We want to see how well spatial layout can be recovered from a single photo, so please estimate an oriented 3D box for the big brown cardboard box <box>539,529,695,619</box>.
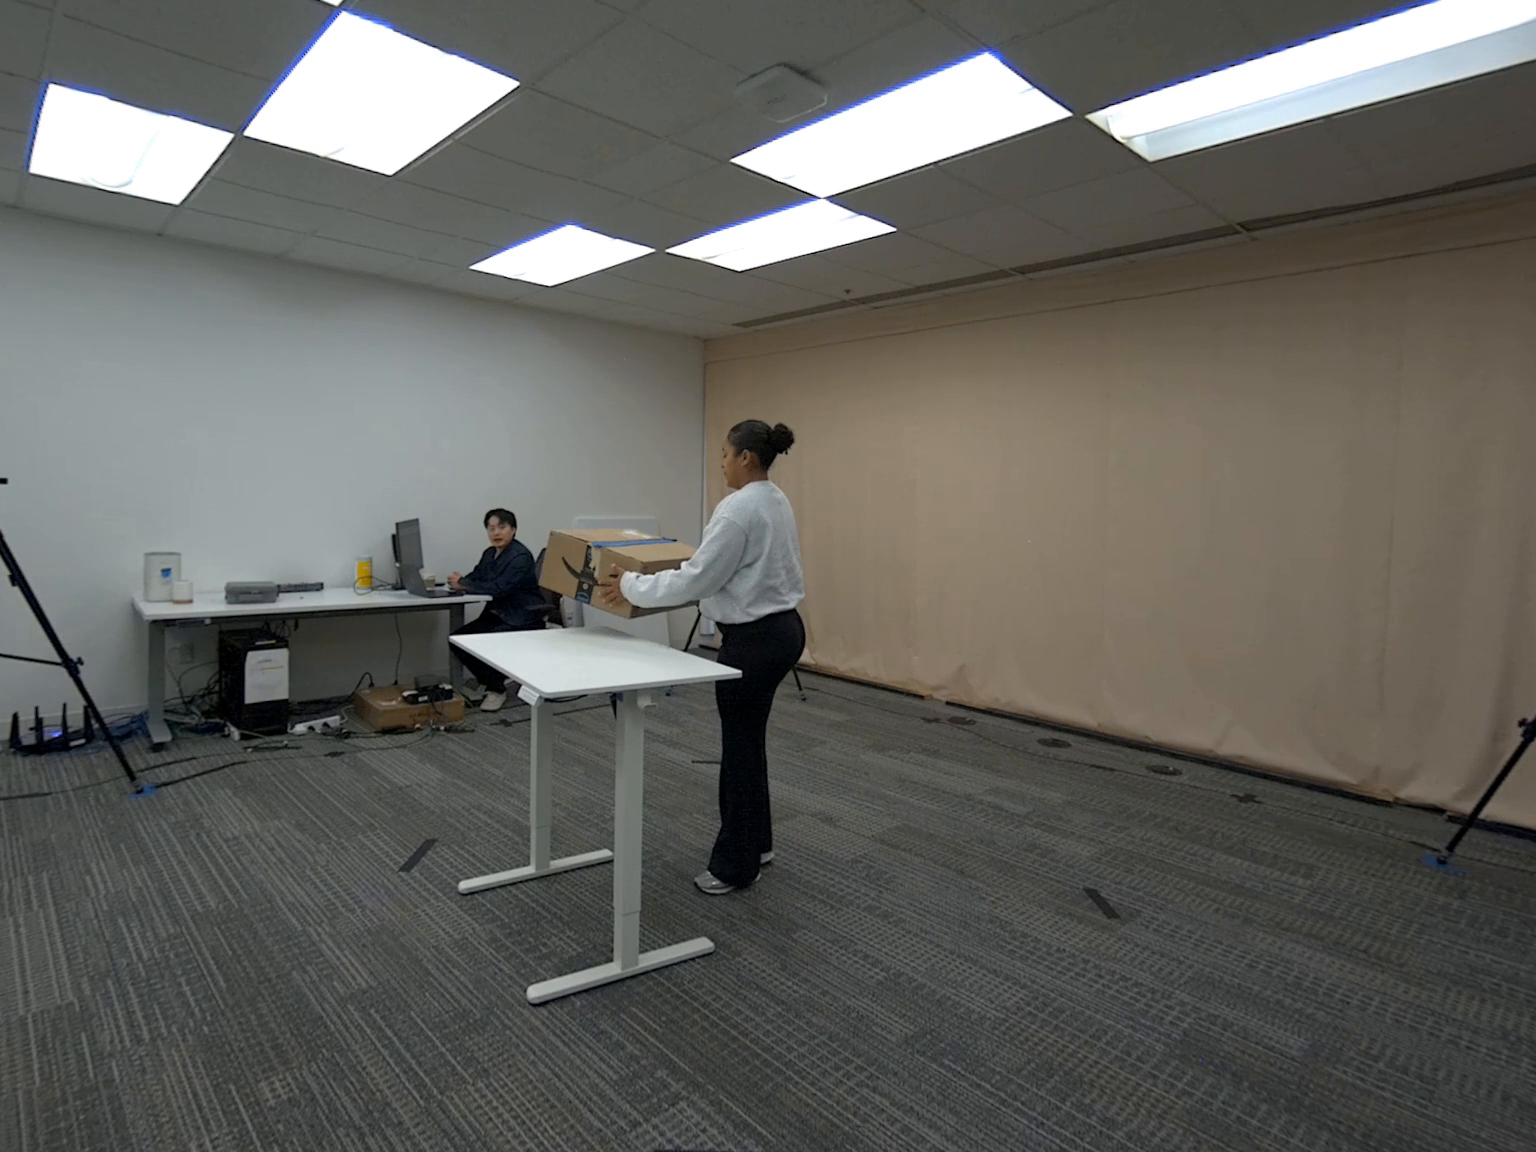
[{"bbox_3d":[-0.534,-0.022,3.288,0.426,0.232,0.580,17,11,22],"label":"big brown cardboard box"}]
